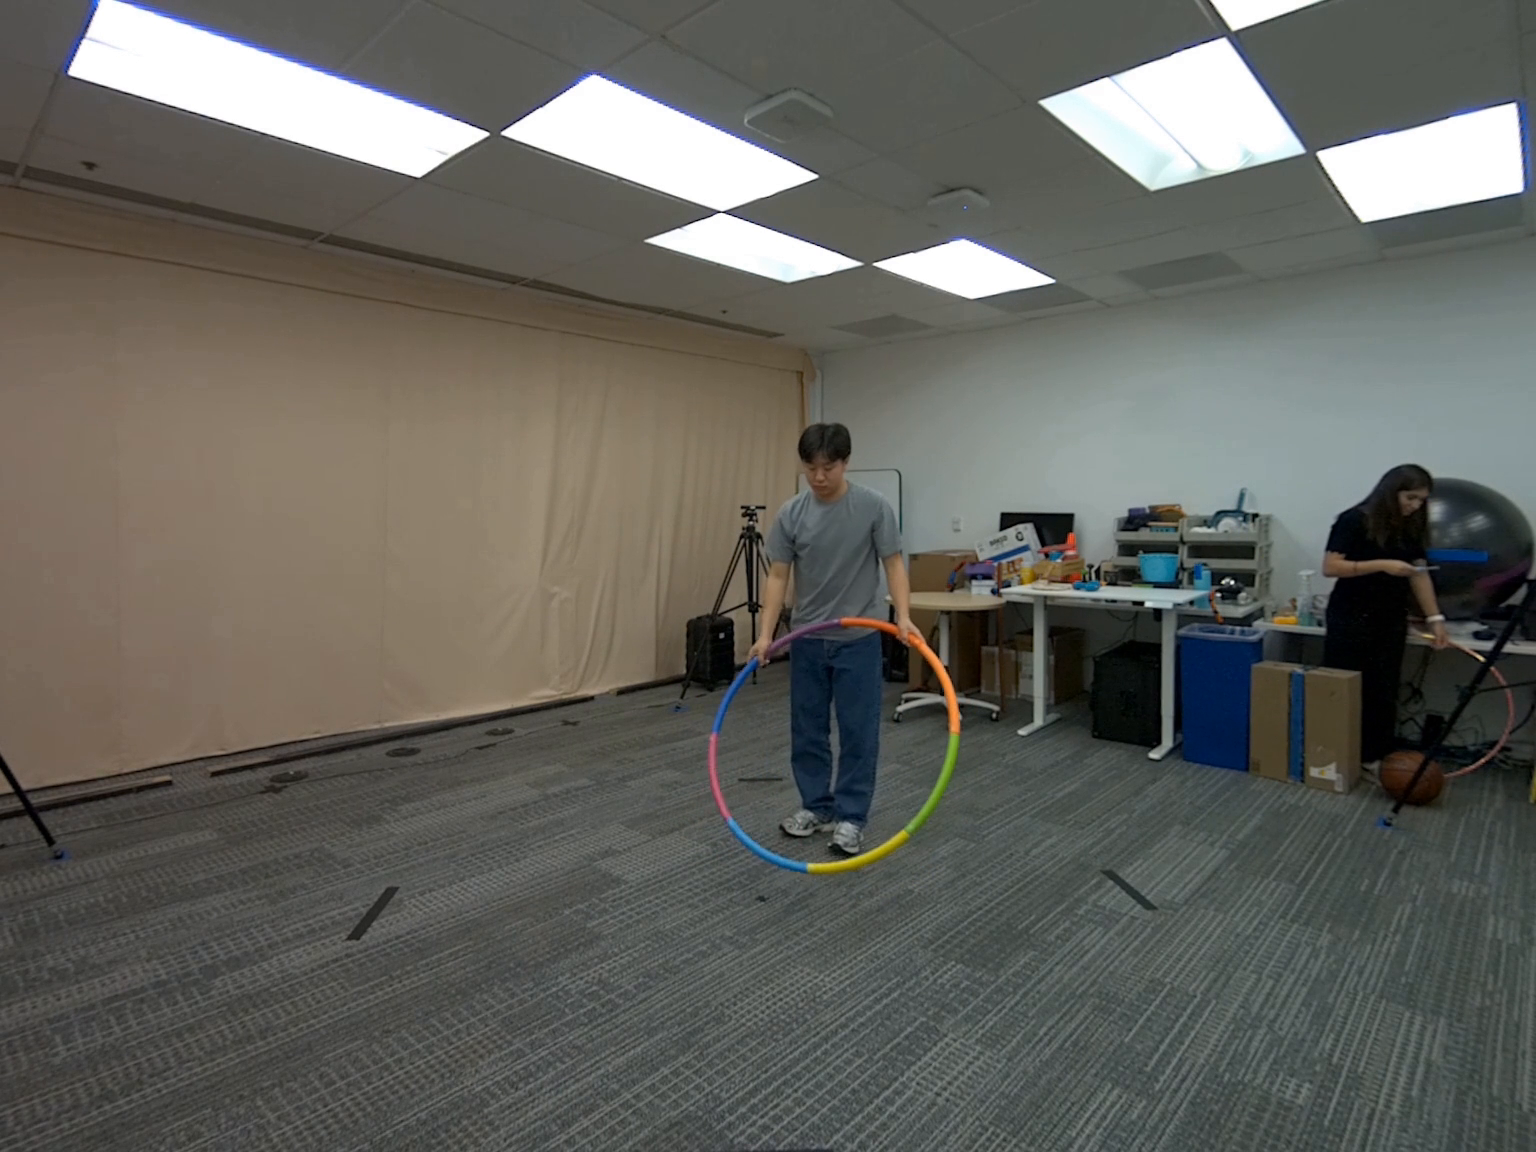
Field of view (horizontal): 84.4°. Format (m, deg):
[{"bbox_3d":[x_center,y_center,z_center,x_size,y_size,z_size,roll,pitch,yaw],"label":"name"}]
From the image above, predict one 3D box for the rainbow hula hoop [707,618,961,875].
[{"bbox_3d":[0.214,0.582,3.109,1.009,0.983,0.034,3,-30,34],"label":"rainbow hula hoop"}]
